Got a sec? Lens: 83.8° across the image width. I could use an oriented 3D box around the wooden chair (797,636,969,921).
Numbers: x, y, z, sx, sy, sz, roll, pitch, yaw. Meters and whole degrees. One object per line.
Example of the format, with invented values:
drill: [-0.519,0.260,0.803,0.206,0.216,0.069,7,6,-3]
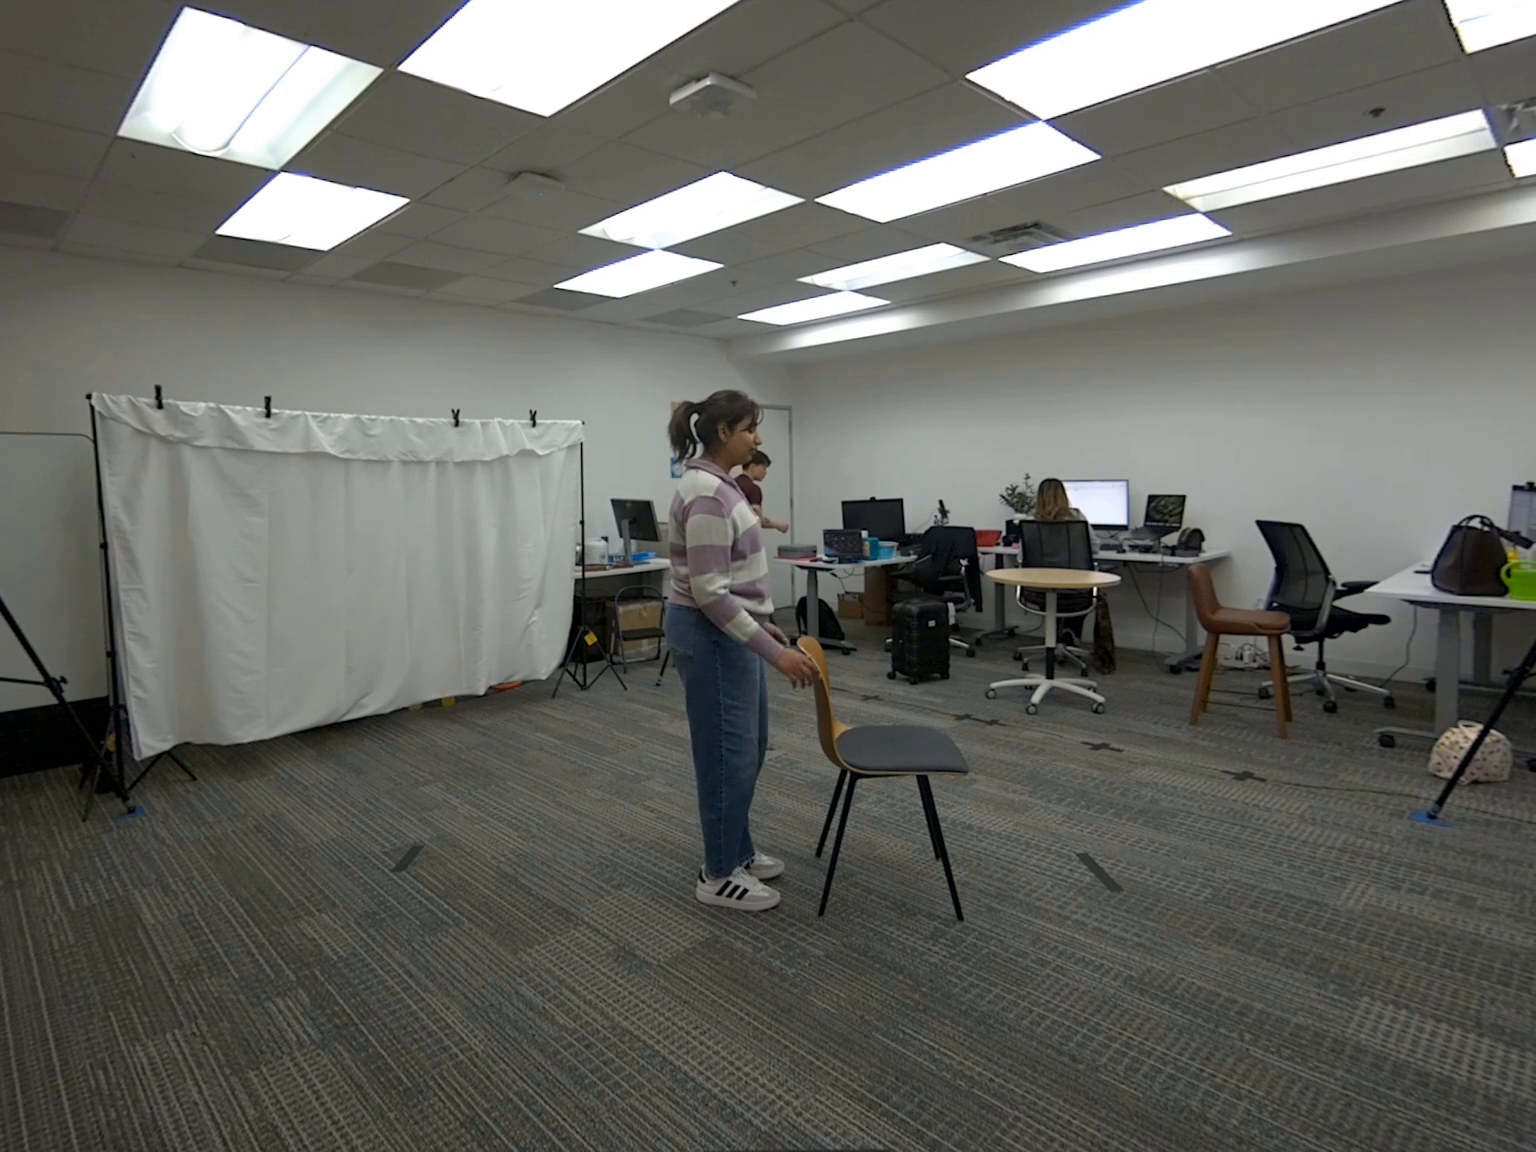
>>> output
wooden chair: [0.397,0.630,2.902,0.525,0.875,0.477,-5,3,4]
